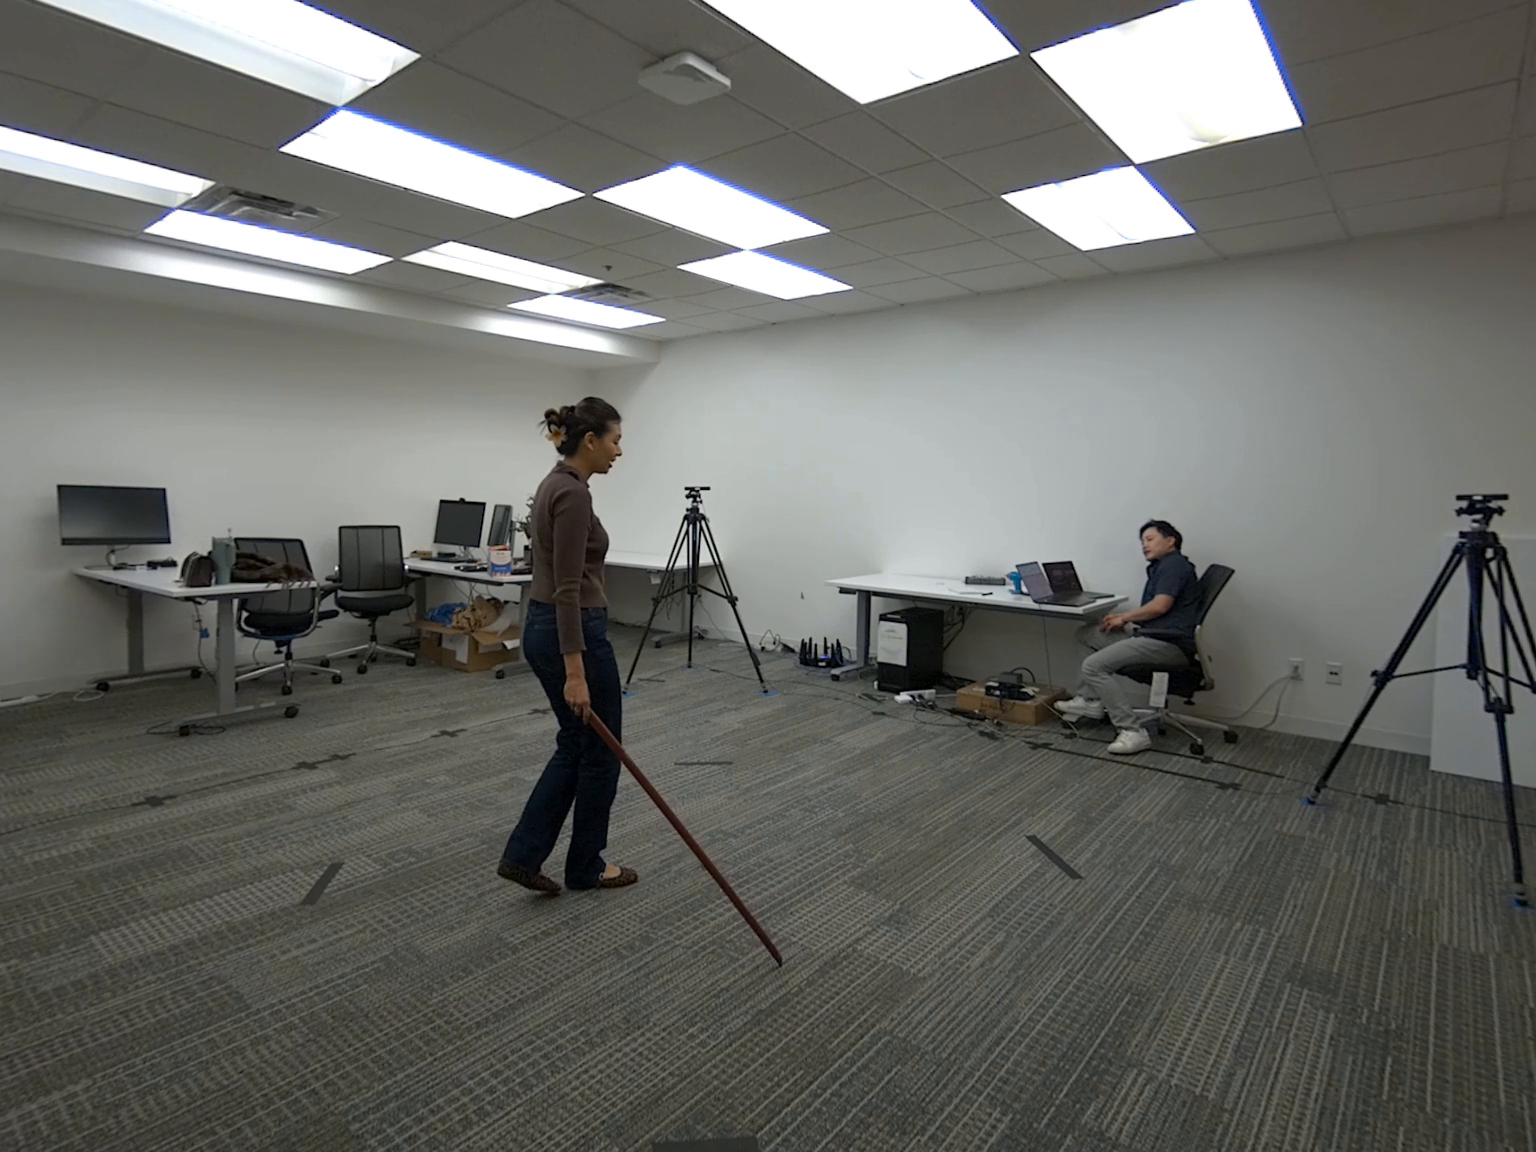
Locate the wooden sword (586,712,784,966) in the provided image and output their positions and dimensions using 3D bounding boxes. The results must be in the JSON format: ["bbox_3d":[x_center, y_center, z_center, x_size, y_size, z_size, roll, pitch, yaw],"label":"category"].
[{"bbox_3d":[-0.279,0.730,2.552,0.024,1.038,0.050,-41,-9,9],"label":"wooden sword"}]
